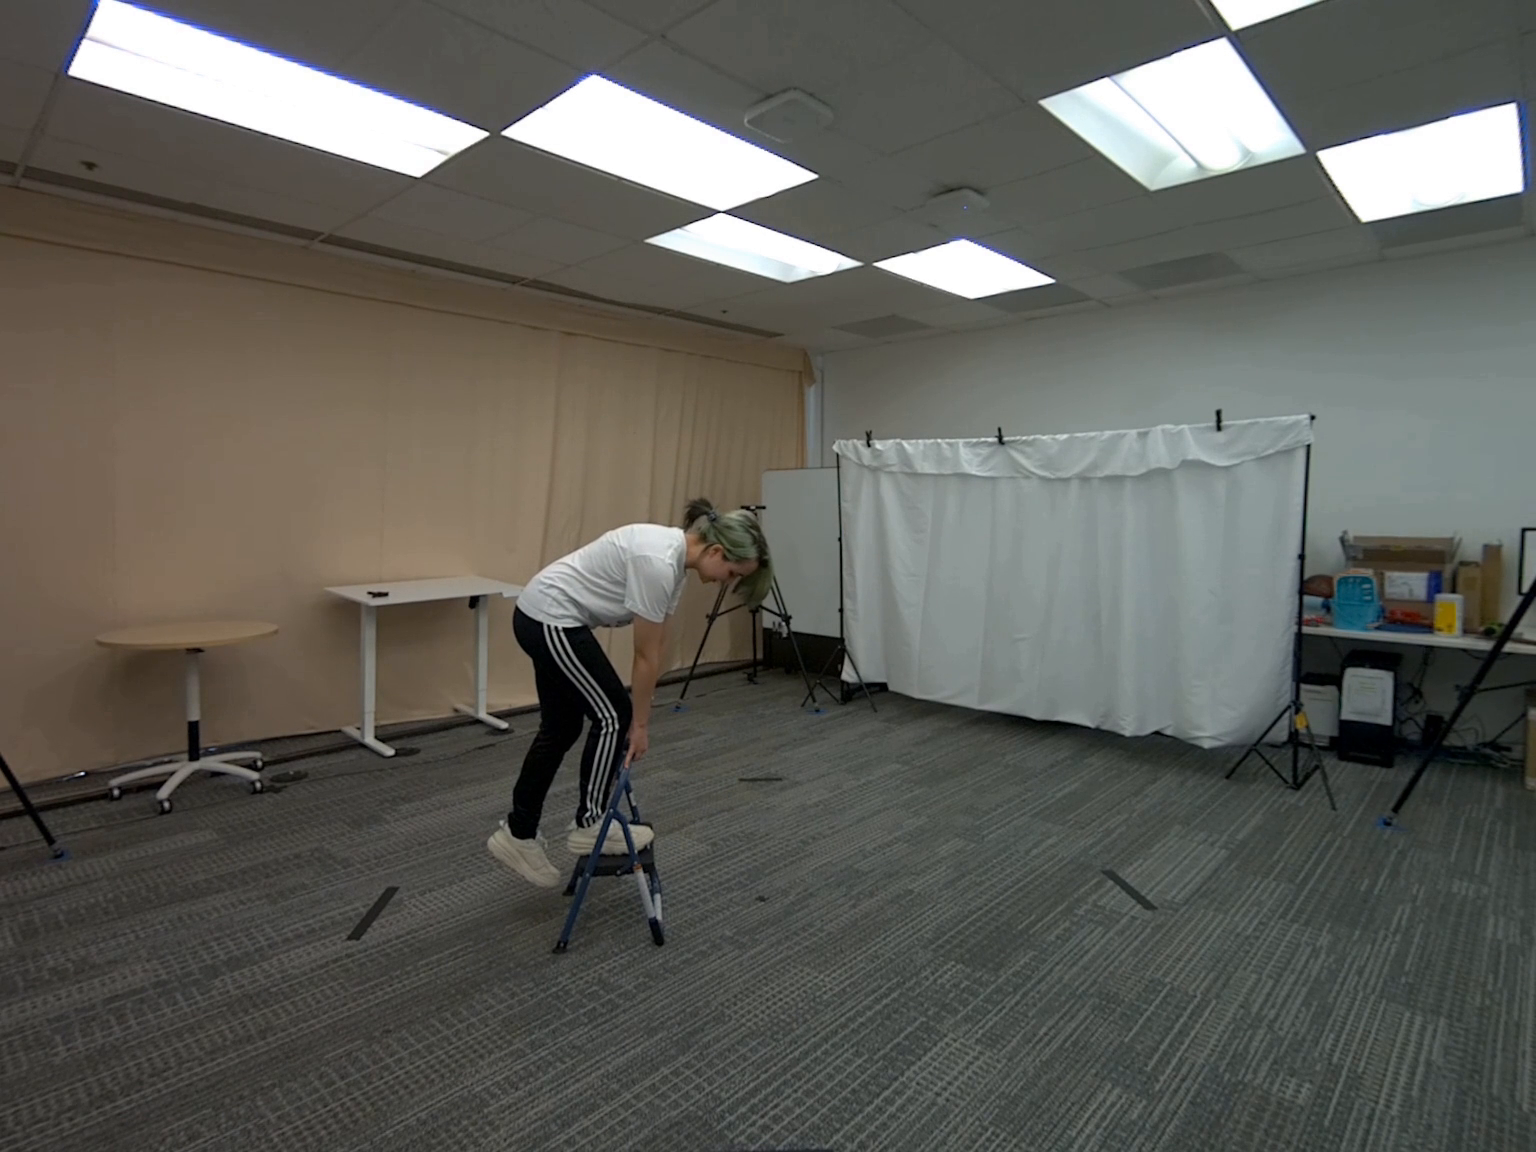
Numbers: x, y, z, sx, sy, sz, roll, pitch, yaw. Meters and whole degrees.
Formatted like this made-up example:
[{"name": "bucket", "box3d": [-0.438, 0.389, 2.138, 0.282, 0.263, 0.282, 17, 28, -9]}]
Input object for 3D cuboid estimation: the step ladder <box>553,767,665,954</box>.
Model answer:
[{"name": "step ladder", "box3d": [-0.531, 0.863, 2.838, 0.347, 0.605, 0.434, 0, 3, -8]}]
